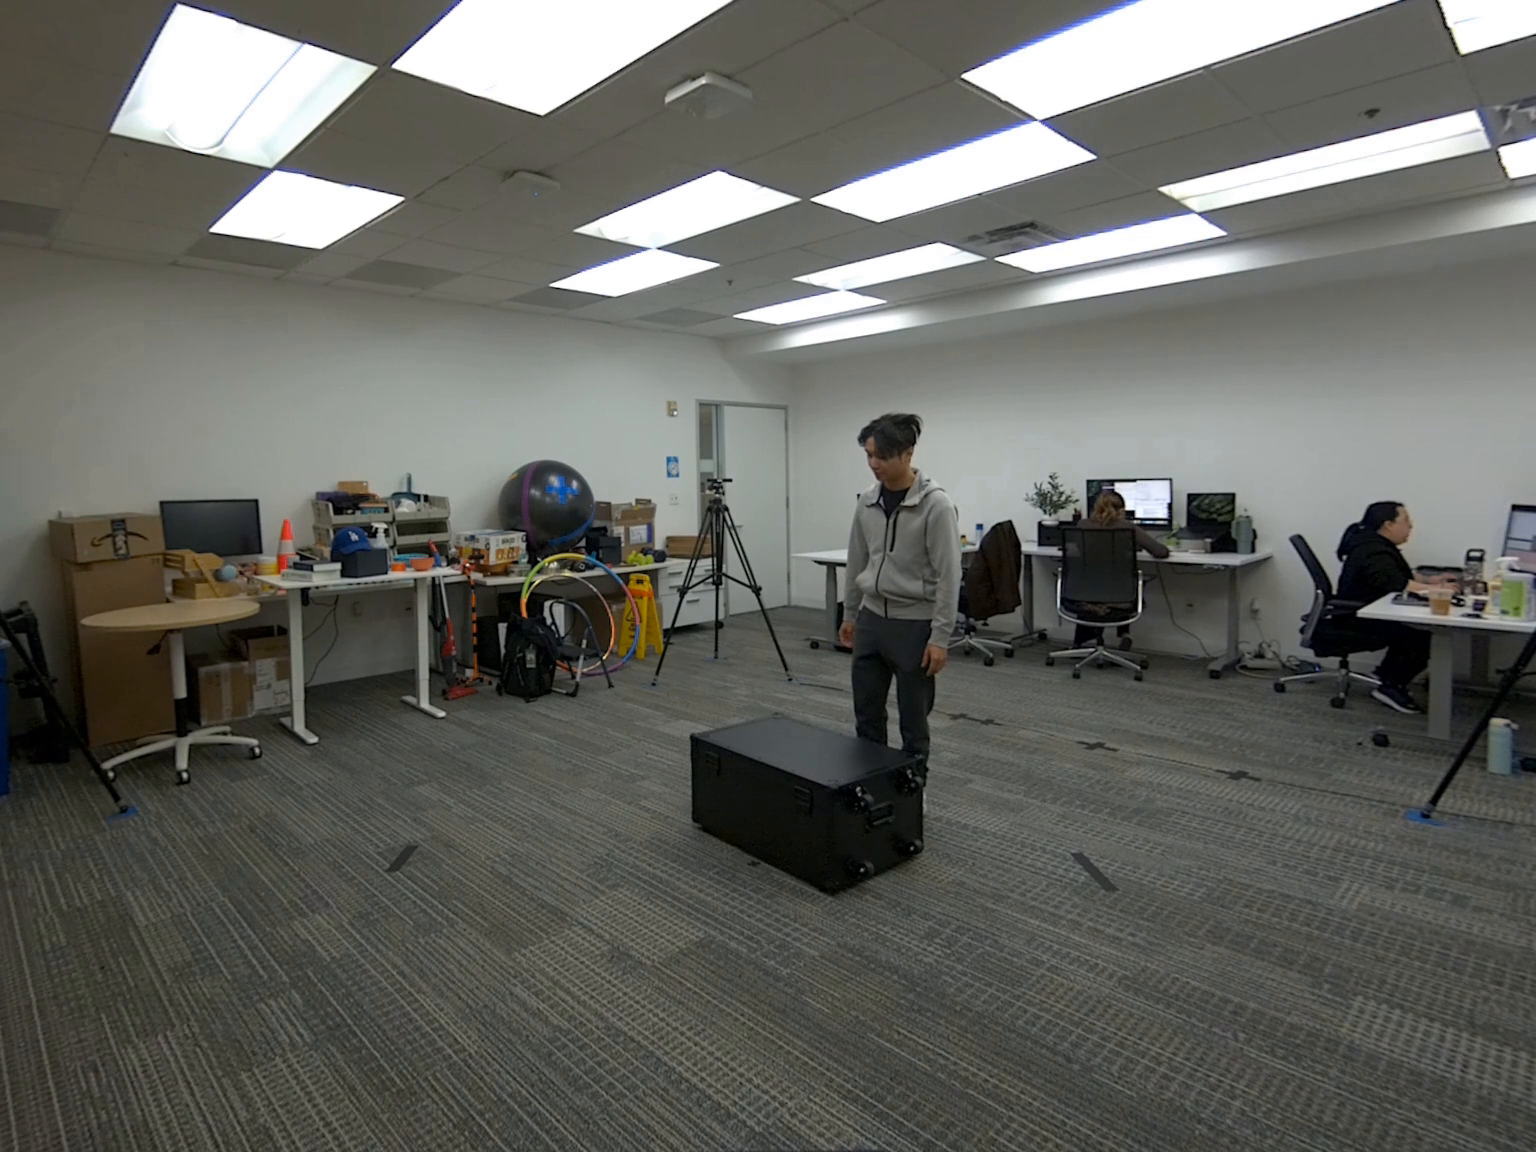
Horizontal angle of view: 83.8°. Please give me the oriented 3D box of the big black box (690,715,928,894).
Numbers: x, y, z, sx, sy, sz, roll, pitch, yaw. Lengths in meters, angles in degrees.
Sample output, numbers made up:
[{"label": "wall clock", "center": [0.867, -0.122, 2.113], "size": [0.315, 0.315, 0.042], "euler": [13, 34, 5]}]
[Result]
[{"label": "big black box", "center": [0.149, 0.836, 3.246], "size": [0.507, 0.395, 0.888], "euler": [-5, 7, -41]}]
